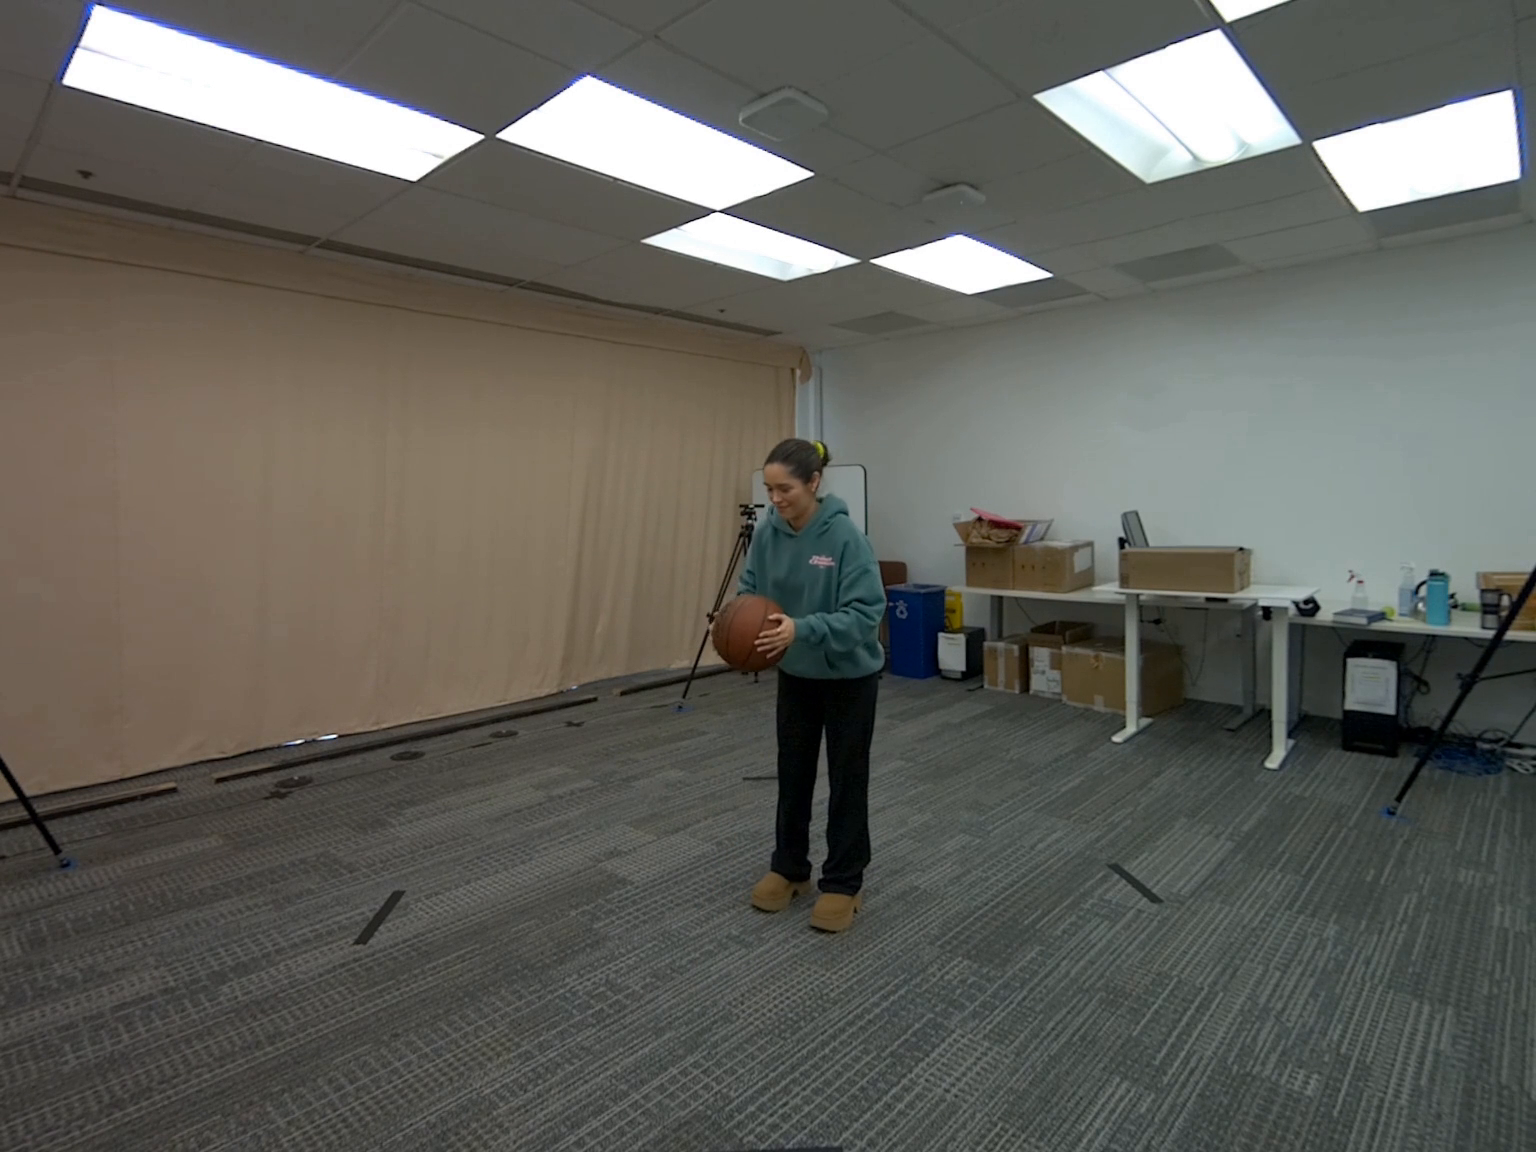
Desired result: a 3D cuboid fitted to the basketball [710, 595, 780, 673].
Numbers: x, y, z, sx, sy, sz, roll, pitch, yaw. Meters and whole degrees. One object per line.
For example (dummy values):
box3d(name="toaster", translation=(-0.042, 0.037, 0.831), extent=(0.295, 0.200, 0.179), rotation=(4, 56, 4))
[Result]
box3d(name="basketball", translation=(-0.046, 0.191, 2.576), extent=(0.236, 0.235, 0.237), rotation=(-1, 4, -2))
